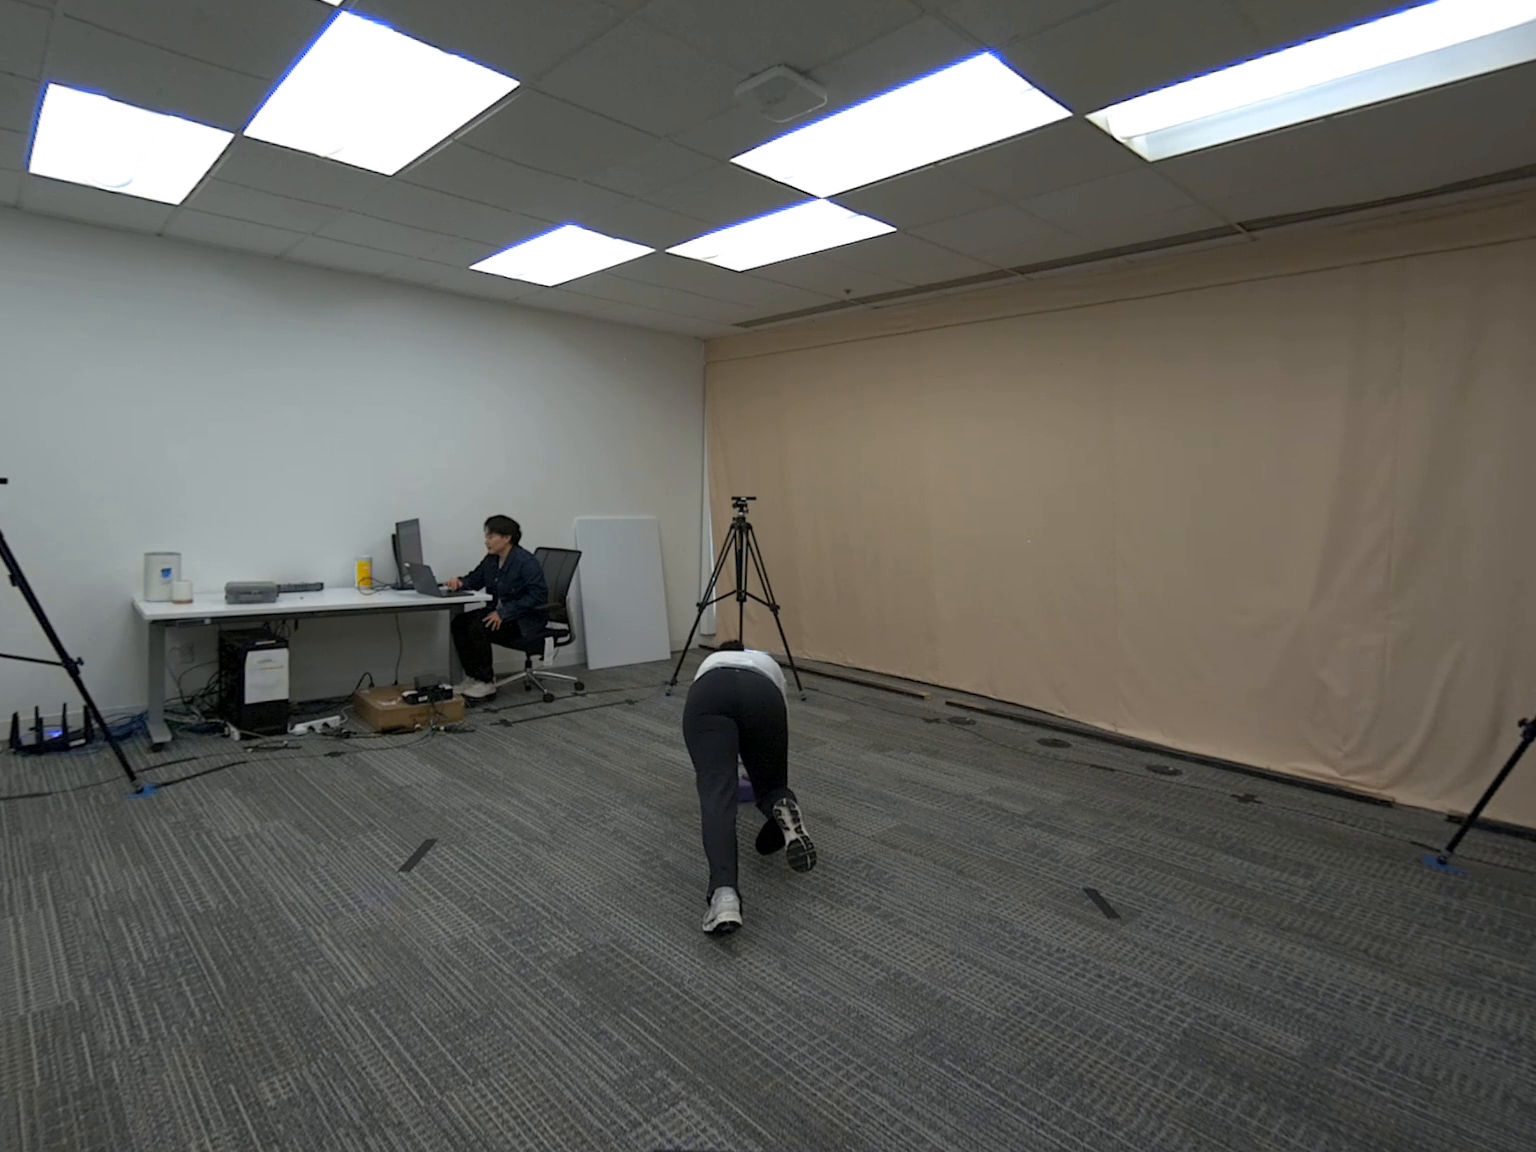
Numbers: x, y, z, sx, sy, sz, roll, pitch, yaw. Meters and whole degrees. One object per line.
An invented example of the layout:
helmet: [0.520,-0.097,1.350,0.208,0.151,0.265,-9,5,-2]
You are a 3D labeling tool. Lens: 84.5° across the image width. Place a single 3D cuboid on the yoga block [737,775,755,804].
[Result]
yoga block: [-0.133,1.005,3.949,0.227,0.076,0.151,1,4,-12]
